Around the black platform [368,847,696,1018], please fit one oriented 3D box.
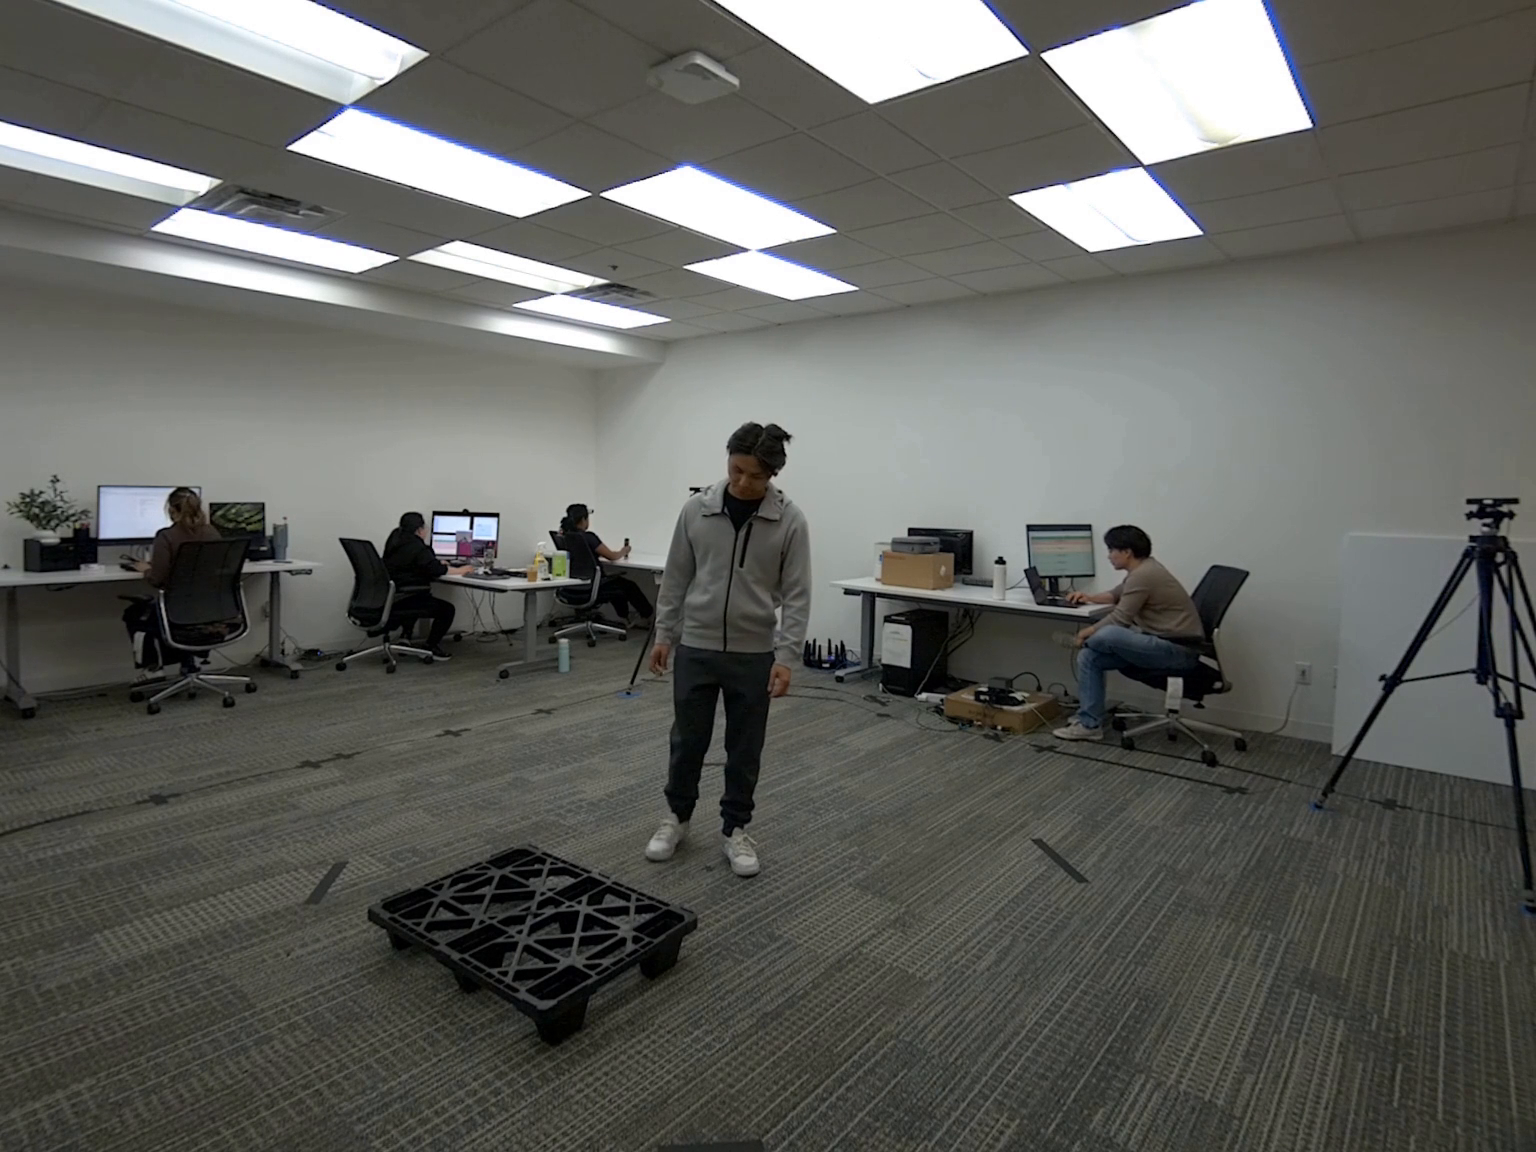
[{"bbox_3d":[-0.706,1.050,2.519,0.832,0.143,0.588,5,7,36],"label":"black platform"}]
